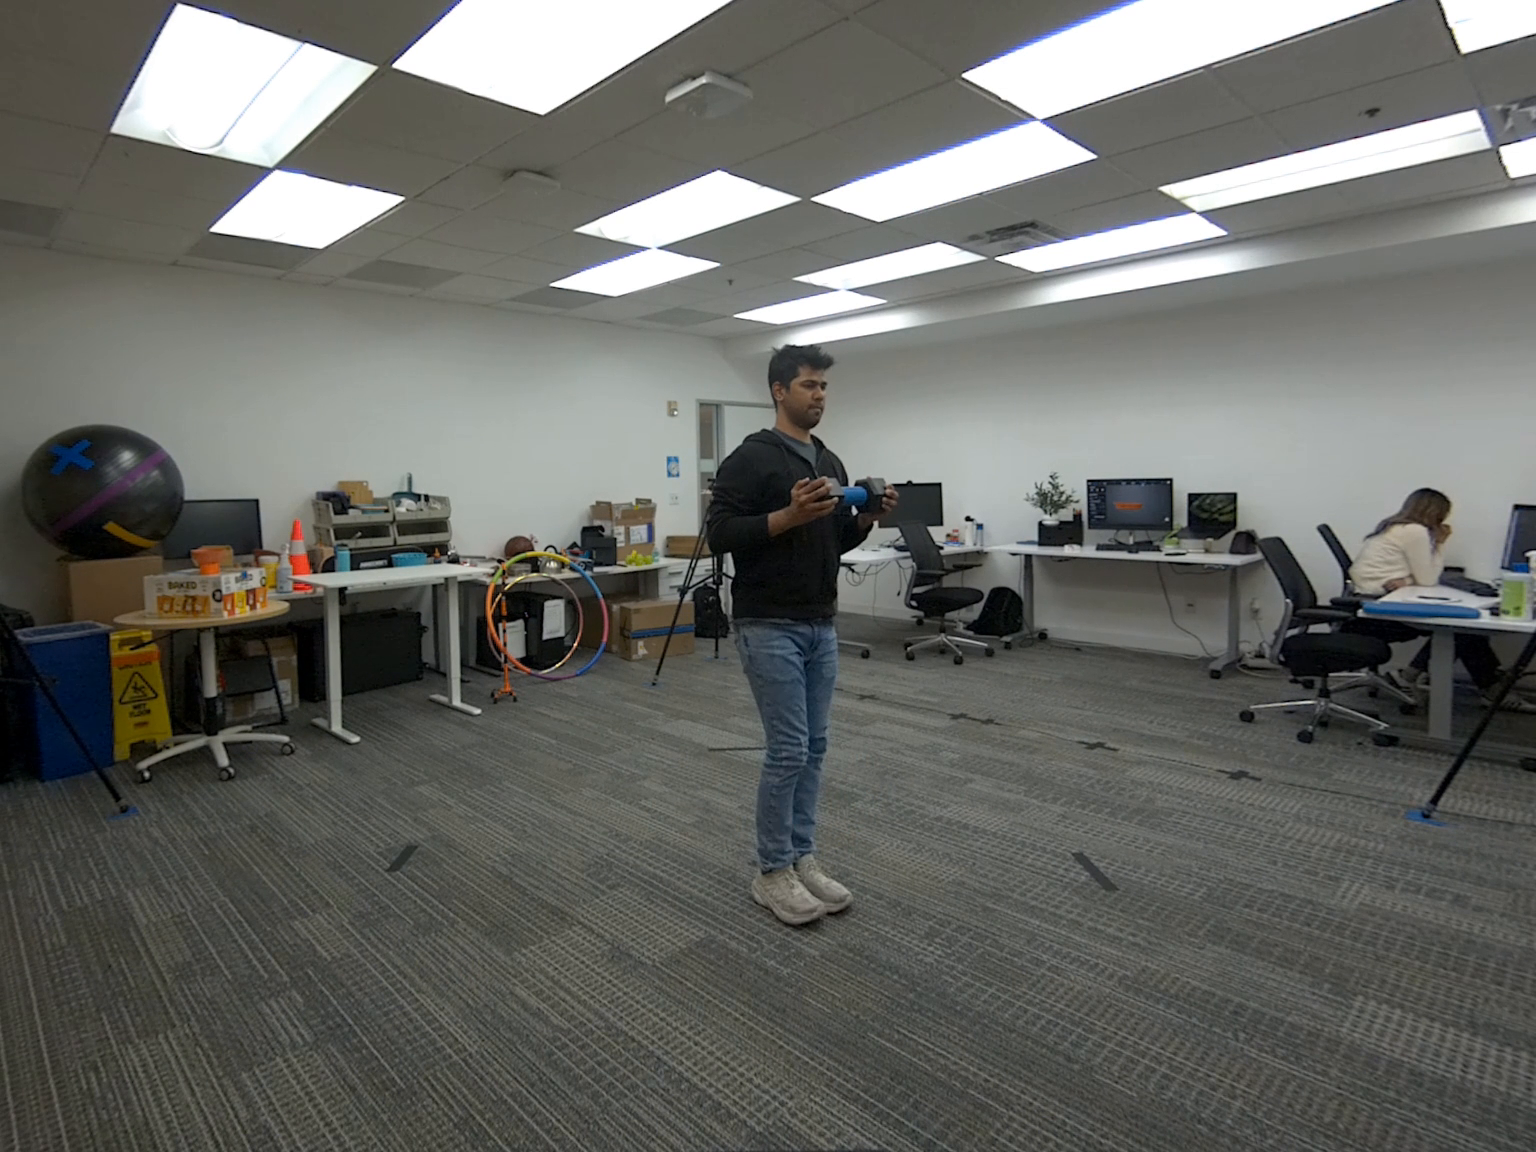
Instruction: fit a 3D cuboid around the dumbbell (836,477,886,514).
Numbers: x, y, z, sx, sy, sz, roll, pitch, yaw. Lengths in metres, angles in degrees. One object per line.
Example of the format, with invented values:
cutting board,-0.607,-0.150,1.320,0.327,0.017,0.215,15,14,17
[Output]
dumbbell,0.230,-0.240,2.642,0.286,0.121,0.113,-4,31,-38
